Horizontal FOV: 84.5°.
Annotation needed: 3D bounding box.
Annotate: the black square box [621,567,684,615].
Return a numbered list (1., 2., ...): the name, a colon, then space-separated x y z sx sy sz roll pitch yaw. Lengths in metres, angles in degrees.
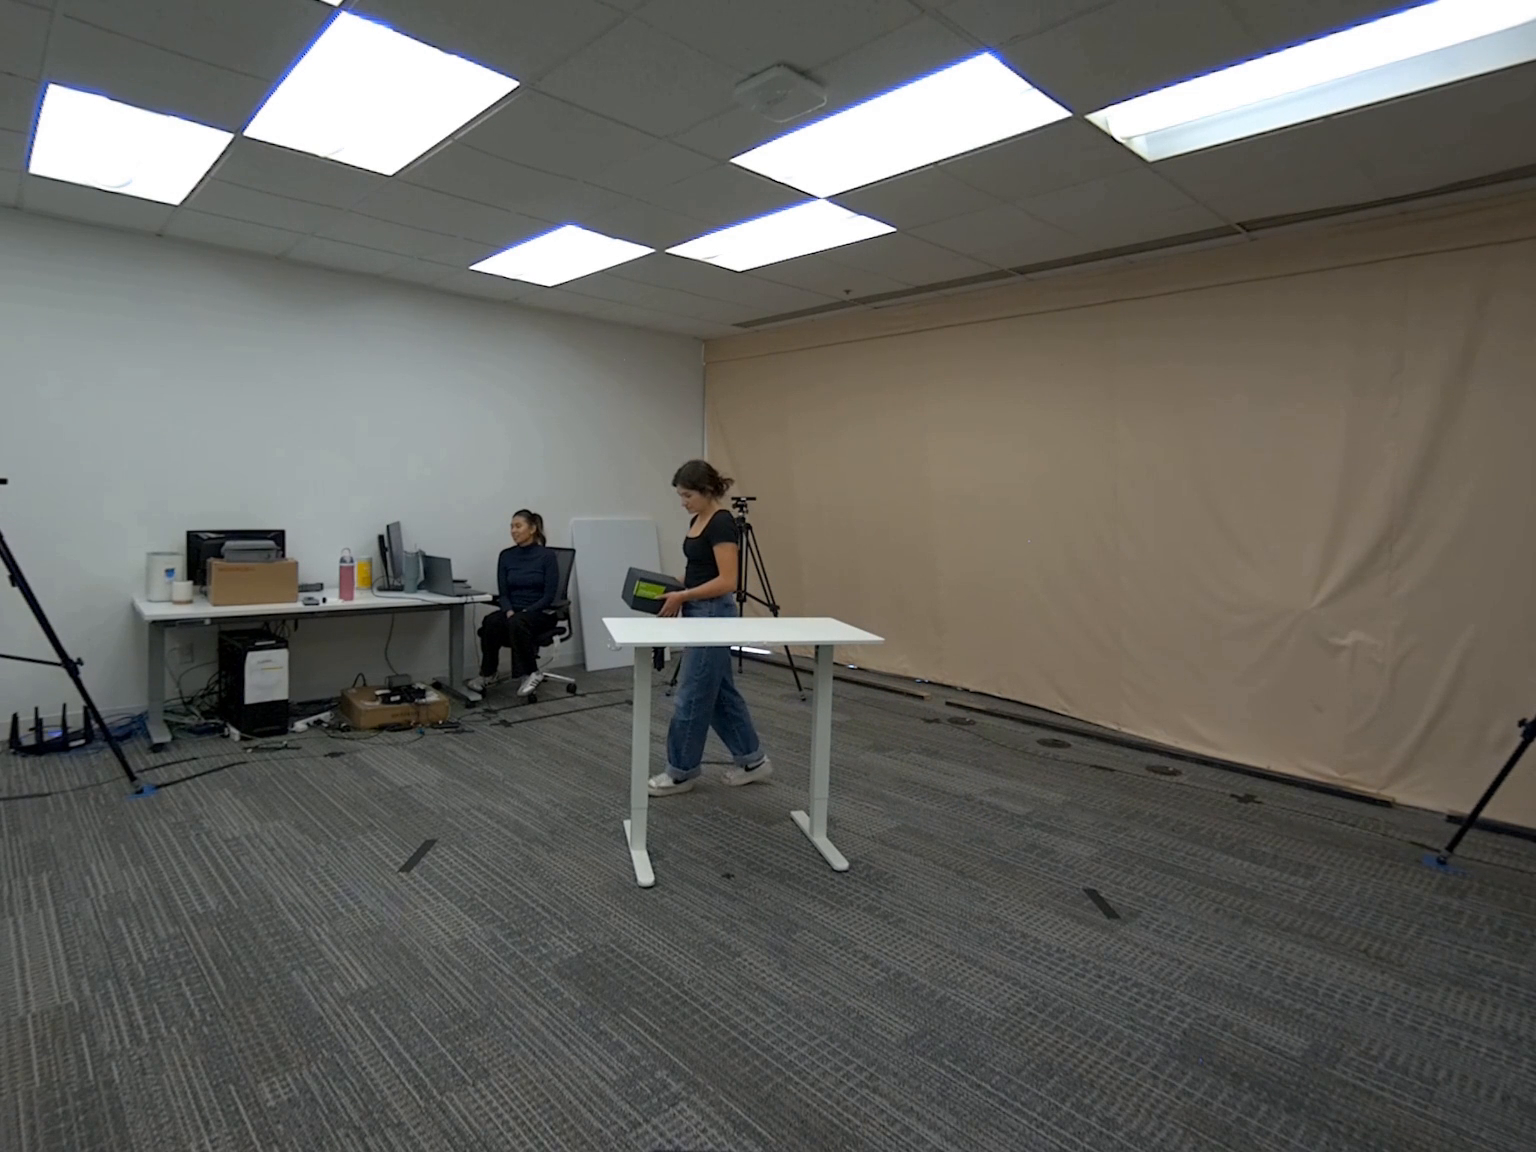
1. black square box: -0.537 0.072 3.932 0.224 0.155 0.221 13 8 -19
